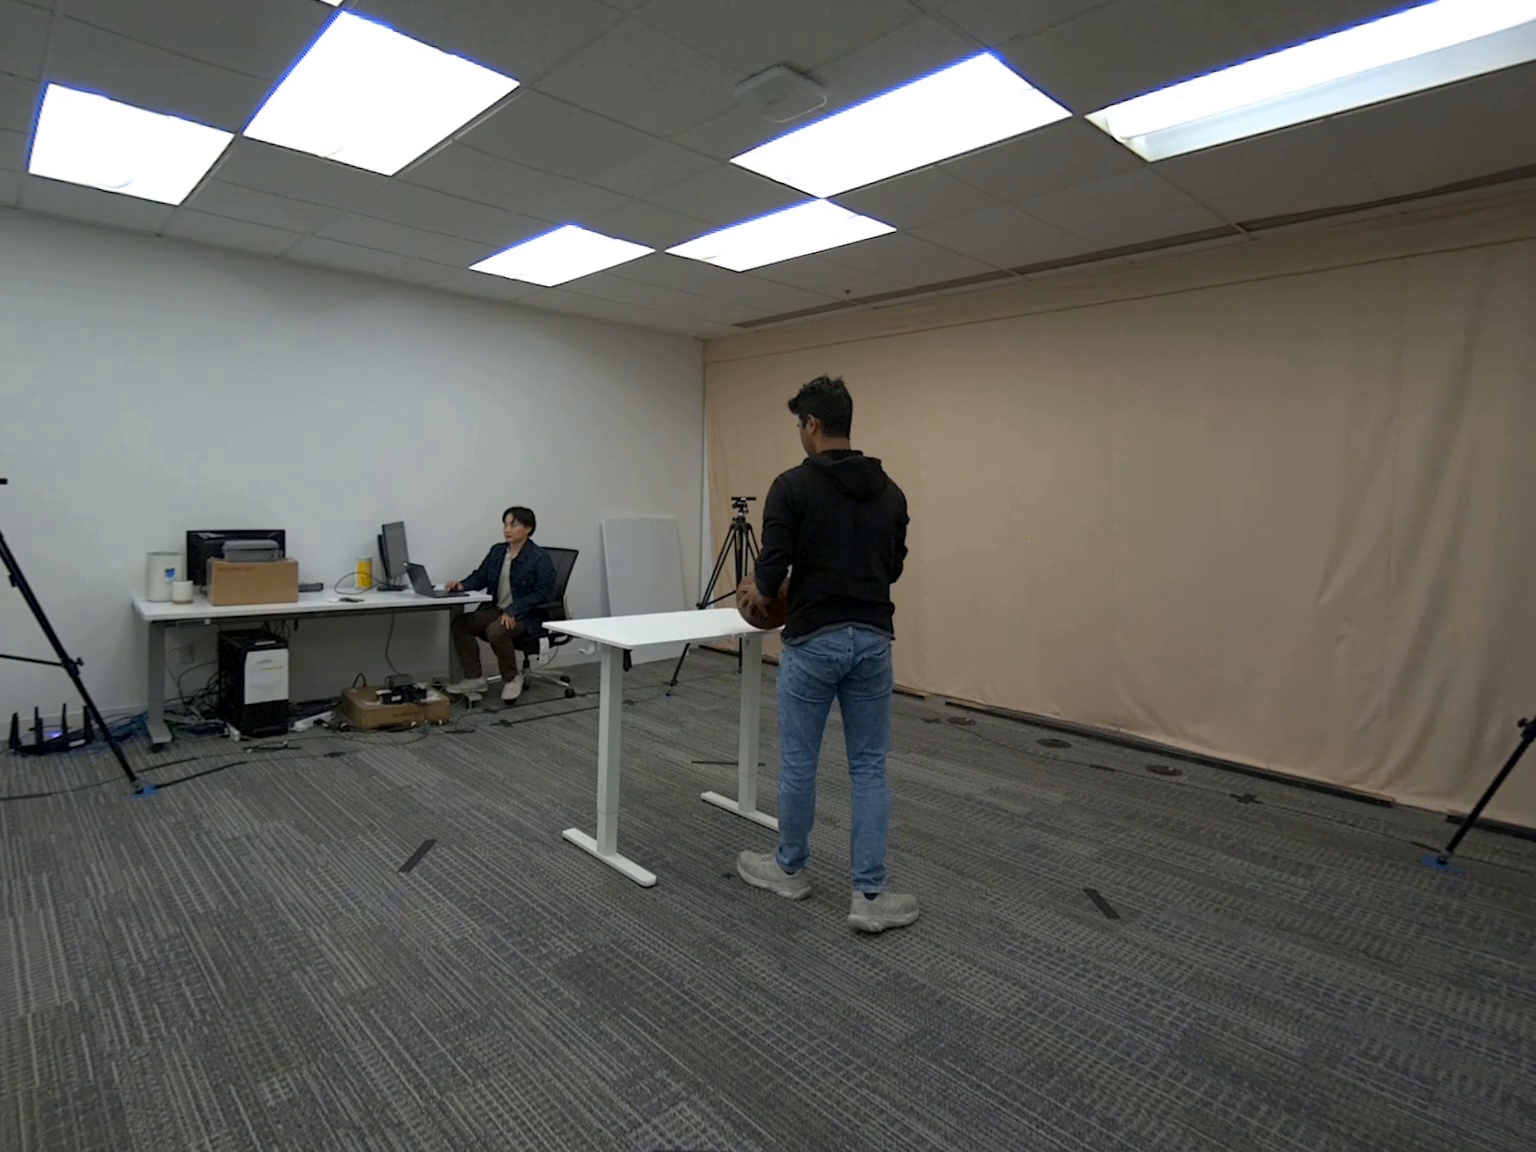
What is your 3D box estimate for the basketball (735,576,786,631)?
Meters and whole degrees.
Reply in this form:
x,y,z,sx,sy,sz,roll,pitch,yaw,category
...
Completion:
x,y,z,sx,sy,sz,roll,pitch,yaw,category
0.009,0.093,3.208,0.236,0.235,0.237,1,4,-1,basketball
